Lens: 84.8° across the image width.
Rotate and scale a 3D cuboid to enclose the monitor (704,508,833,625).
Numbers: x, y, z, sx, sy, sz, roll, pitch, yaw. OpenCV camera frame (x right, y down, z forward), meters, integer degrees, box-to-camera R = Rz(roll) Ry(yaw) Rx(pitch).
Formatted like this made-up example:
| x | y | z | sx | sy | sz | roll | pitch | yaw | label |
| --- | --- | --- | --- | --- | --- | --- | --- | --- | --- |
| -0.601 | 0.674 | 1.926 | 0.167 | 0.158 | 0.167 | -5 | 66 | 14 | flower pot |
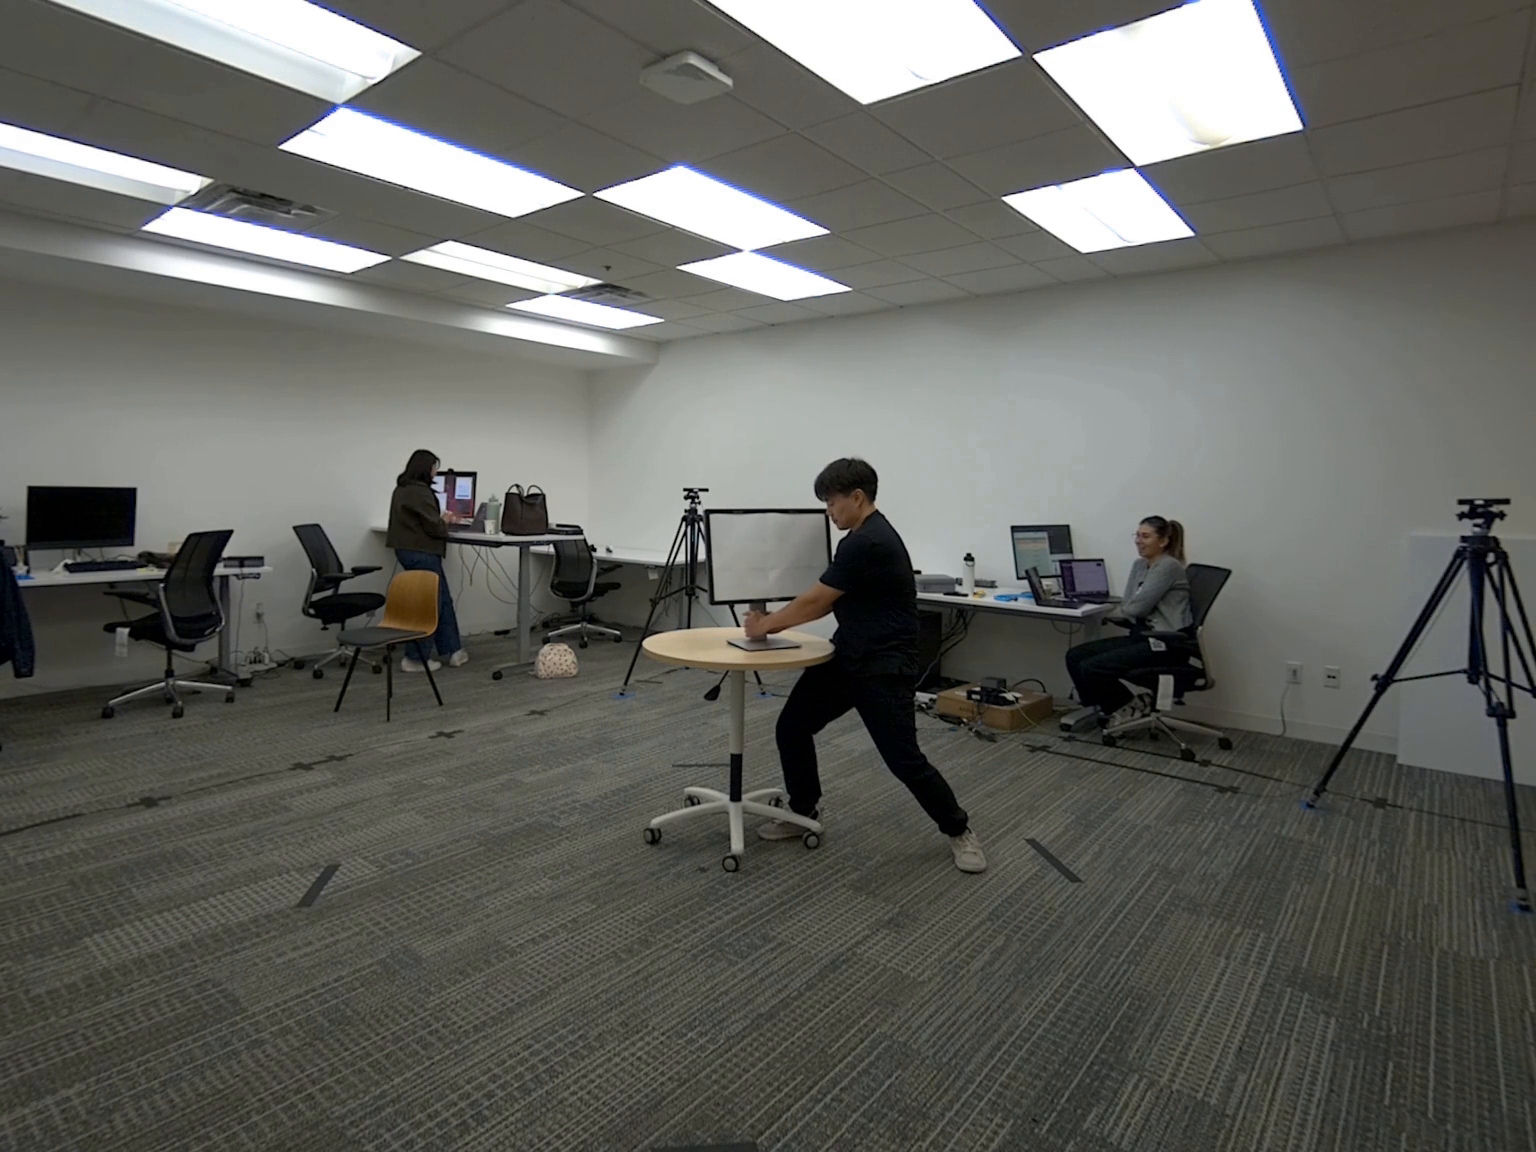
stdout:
| x | y | z | sx | sy | sz | roll | pitch | yaw | label |
| --- | --- | --- | --- | --- | --- | --- | --- | --- | --- |
| -0.021 | 0.005 | 3.359 | 0.525 | 0.520 | 0.193 | -2 | 5 | -28 | monitor |
